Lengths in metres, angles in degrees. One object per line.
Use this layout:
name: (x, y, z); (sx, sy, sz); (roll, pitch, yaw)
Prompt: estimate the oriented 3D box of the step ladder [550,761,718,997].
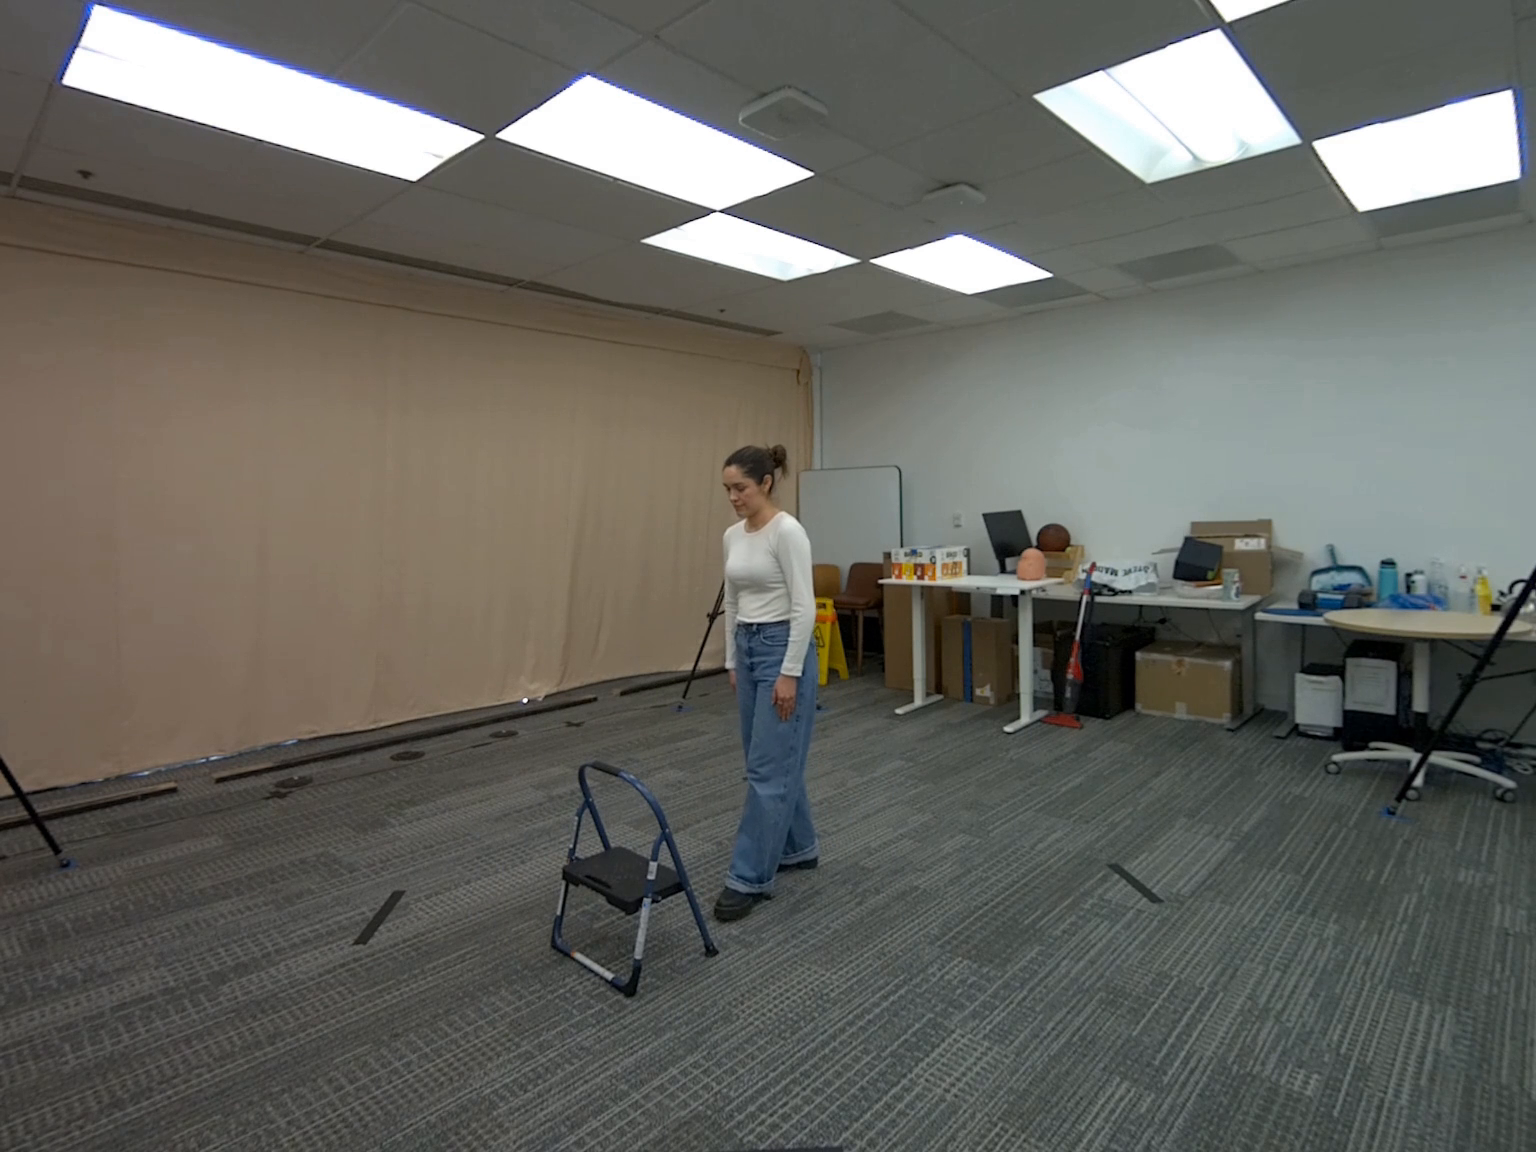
step ladder: (-0.429, 0.877, 2.634); (0.445, 0.605, 0.338); (2, 4, 43)
